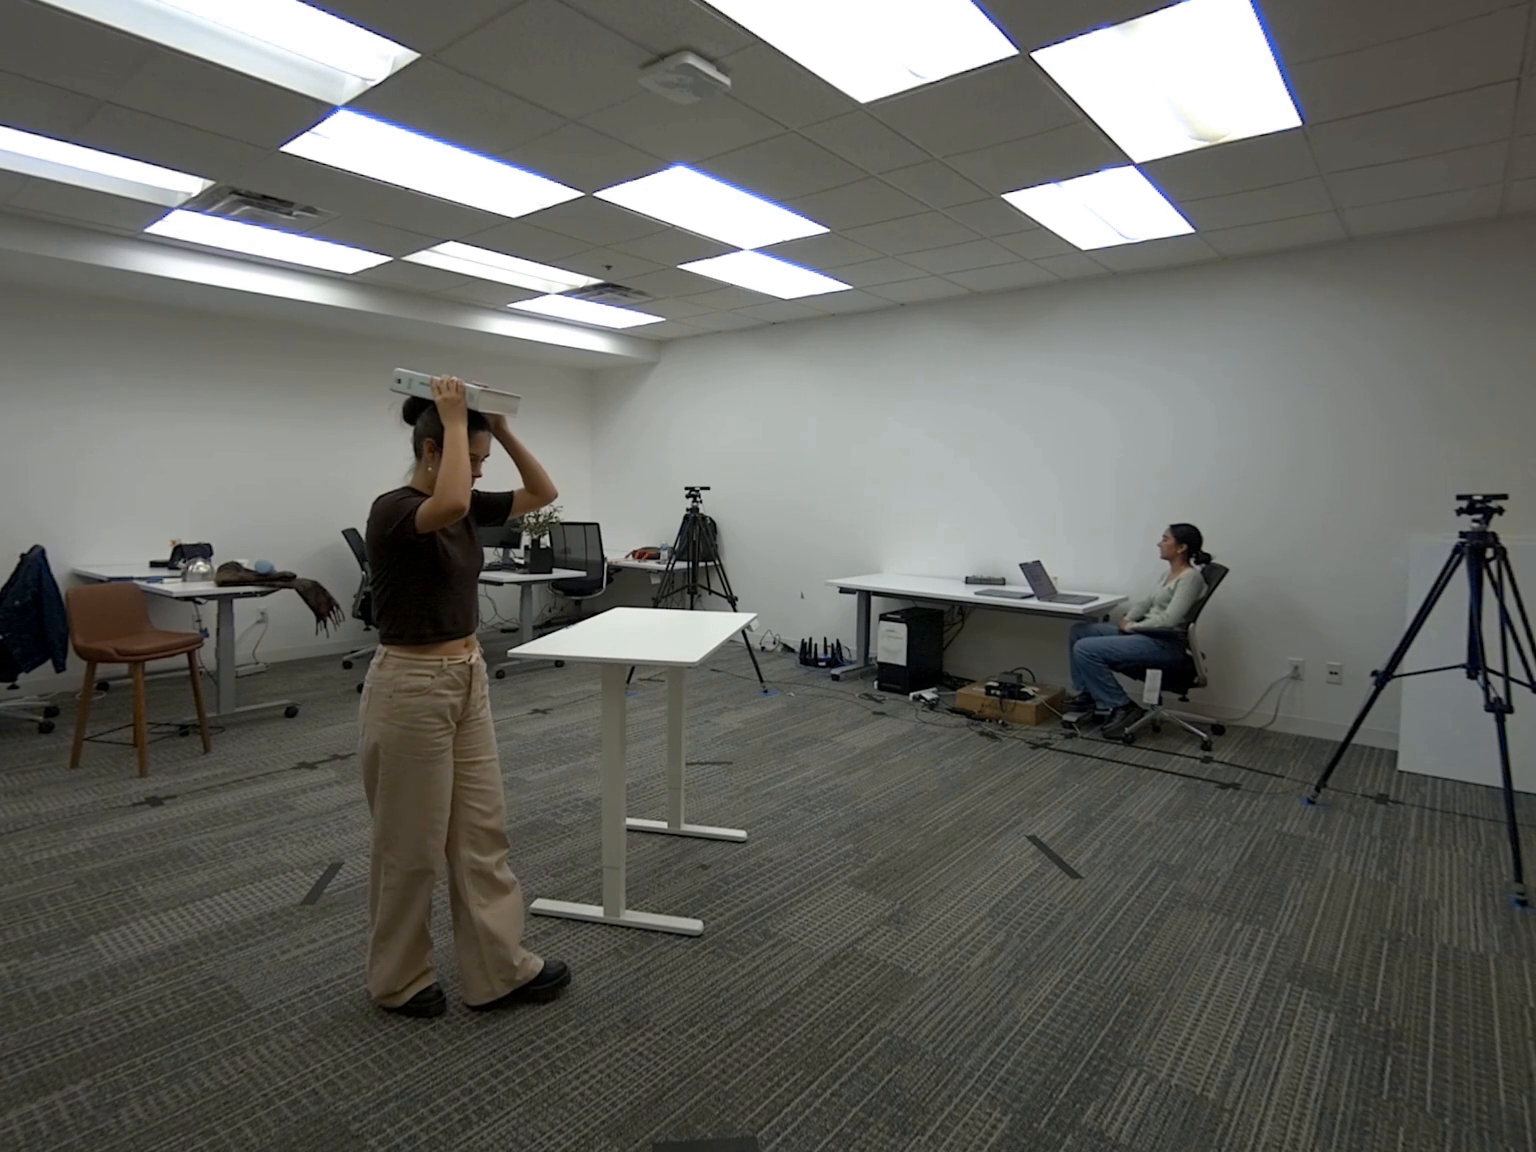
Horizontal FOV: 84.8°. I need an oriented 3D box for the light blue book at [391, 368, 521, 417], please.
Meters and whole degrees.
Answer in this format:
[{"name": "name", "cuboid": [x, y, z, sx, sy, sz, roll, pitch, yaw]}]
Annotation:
[{"name": "light blue book", "cuboid": [-0.801, -0.471, 2.165, 0.265, 0.059, 0.189, 15, 8, 12]}]
